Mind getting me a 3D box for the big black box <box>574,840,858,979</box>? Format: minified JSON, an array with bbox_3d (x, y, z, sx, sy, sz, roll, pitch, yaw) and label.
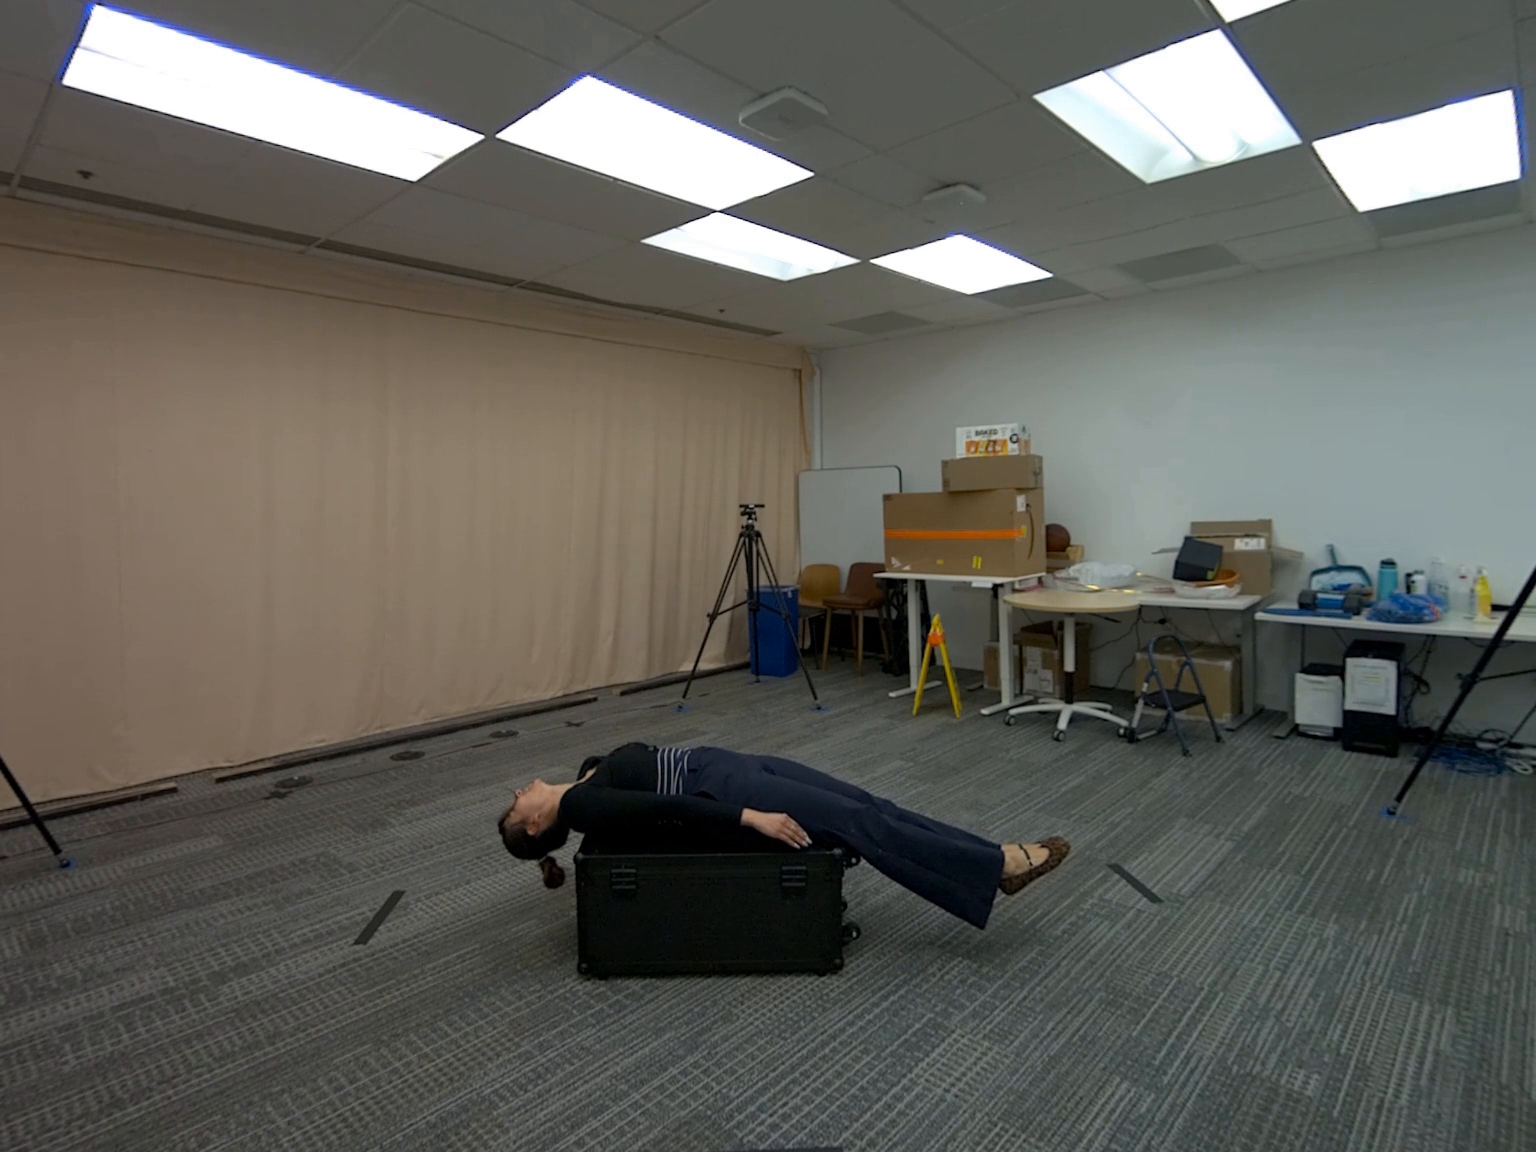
[{"bbox_3d":[-0.148,0.971,2.698,0.861,0.395,0.523,-2,4,-1],"label":"big black box"}]
